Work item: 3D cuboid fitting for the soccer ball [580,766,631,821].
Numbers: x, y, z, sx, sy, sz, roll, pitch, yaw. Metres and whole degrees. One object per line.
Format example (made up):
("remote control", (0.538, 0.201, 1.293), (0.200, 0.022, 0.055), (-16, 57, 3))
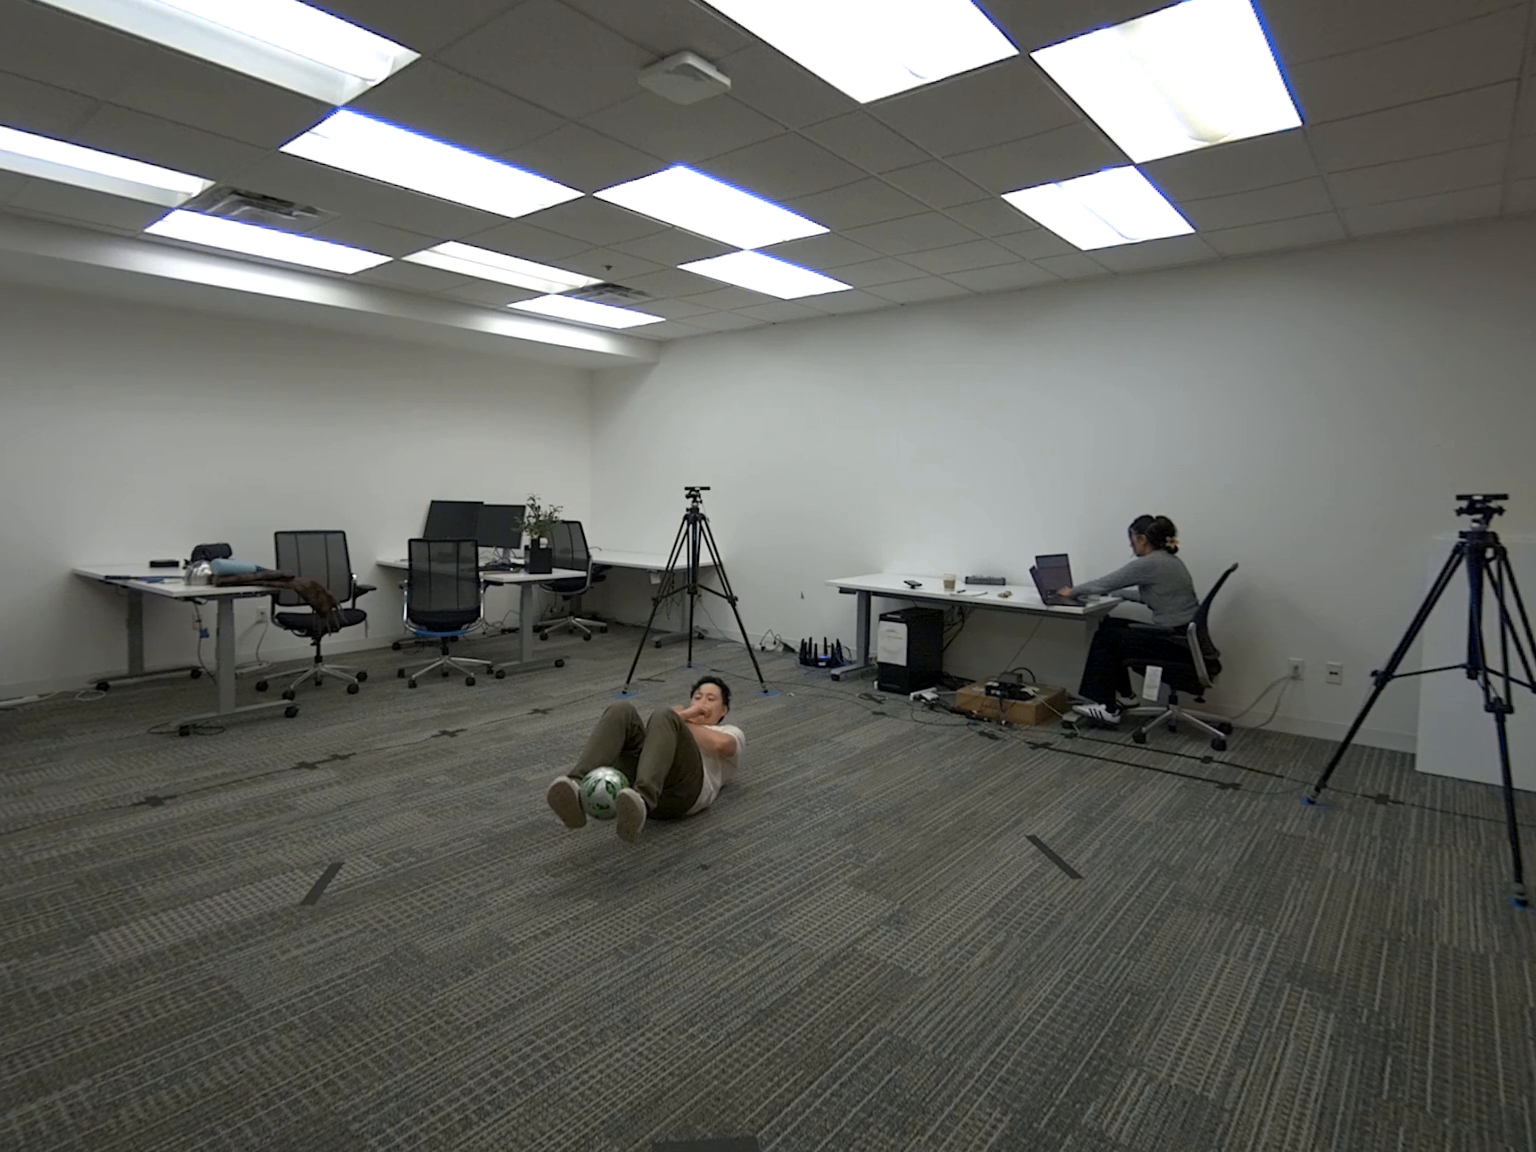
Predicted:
("soccer ball", (-0.615, 0.789, 3.091), (0.187, 0.187, 0.188), (1, 4, -2))
